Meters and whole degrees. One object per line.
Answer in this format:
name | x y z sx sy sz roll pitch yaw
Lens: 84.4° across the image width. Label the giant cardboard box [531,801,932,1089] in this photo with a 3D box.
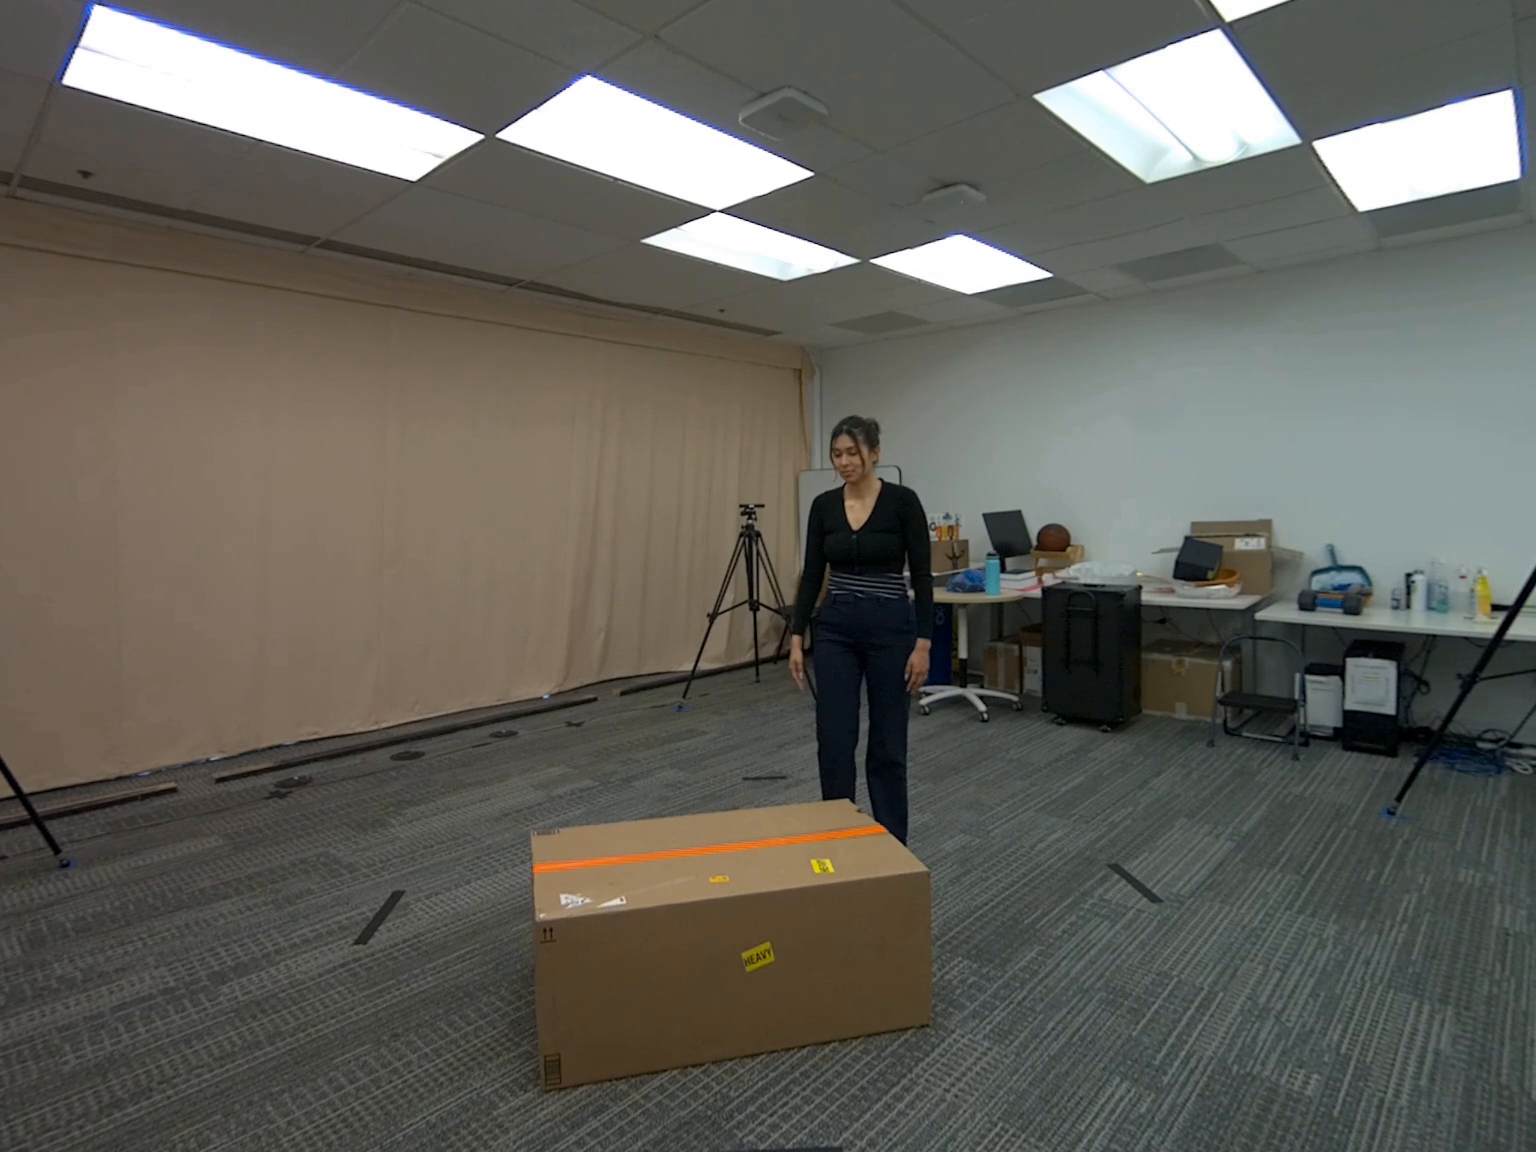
giant cardboard box | -0.144 0.980 2.383 1.011 0.425 0.588 -2 5 -14
